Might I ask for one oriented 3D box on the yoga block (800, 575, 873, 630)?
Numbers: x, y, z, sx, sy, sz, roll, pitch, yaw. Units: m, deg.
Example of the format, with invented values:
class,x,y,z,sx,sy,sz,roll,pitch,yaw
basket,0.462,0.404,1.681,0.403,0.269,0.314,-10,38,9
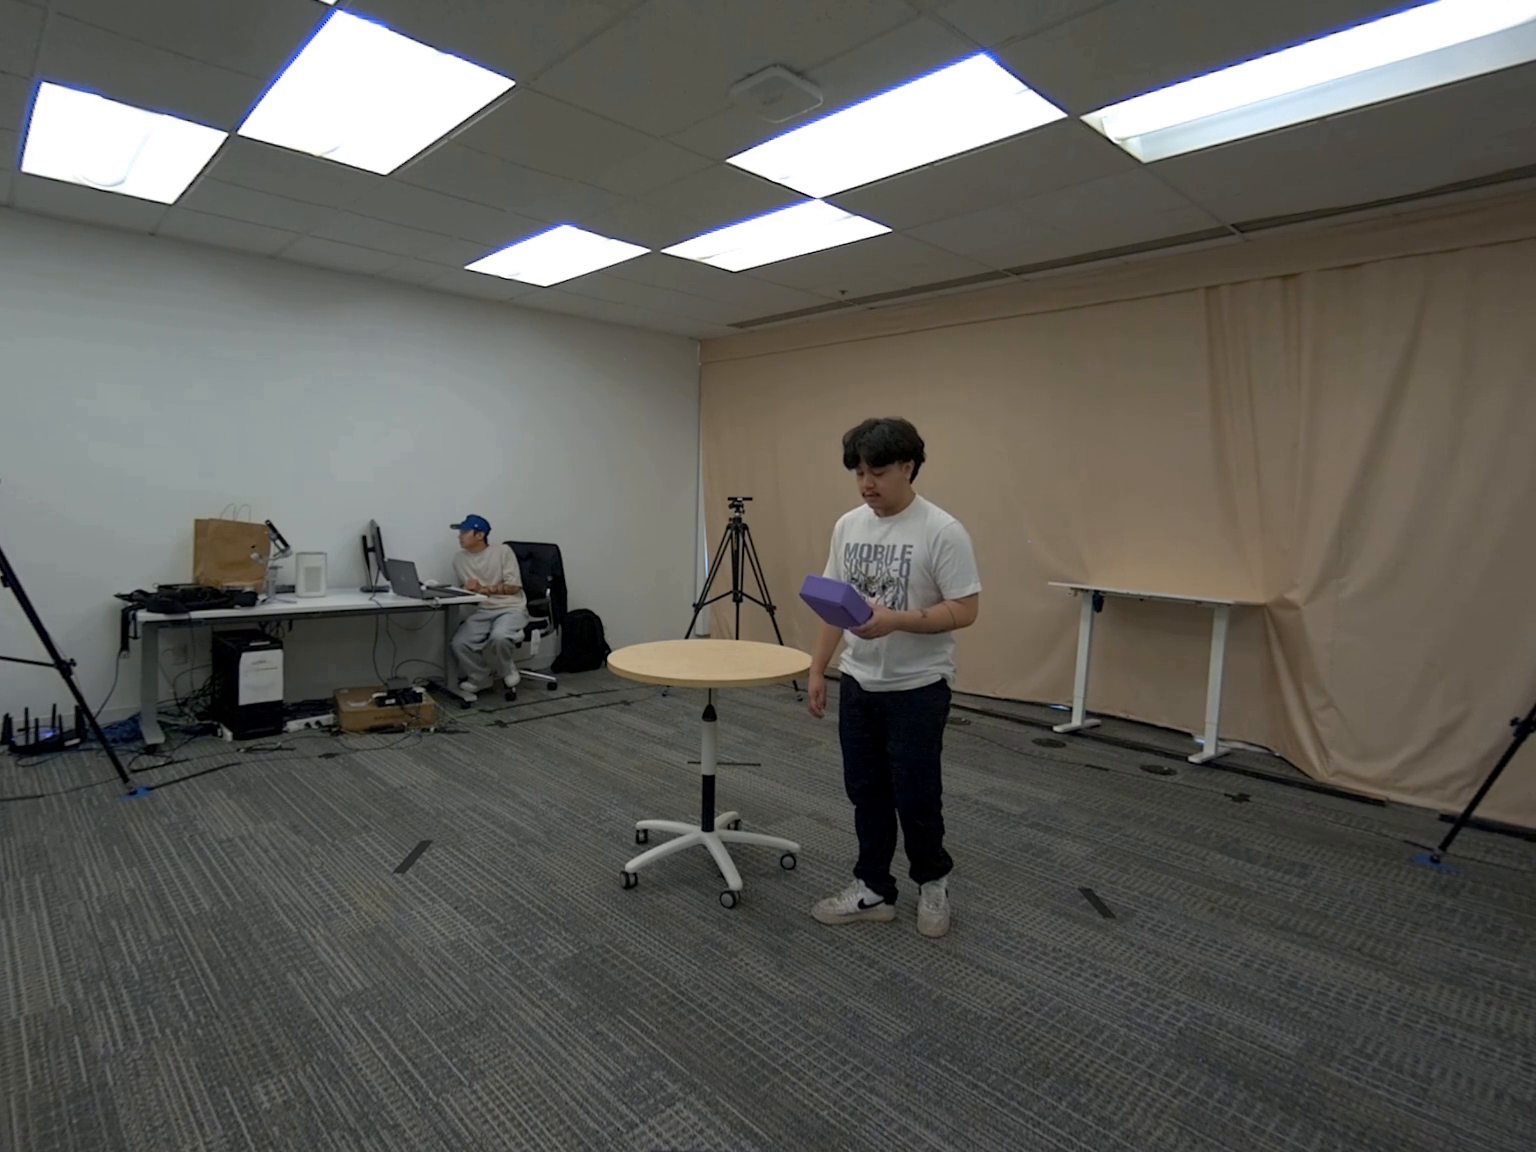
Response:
class,x,y,z,sx,sy,sz,roll,pitch,yaw
yoga block,0.198,0.084,2.463,0.153,0.077,0.222,14,-18,33
